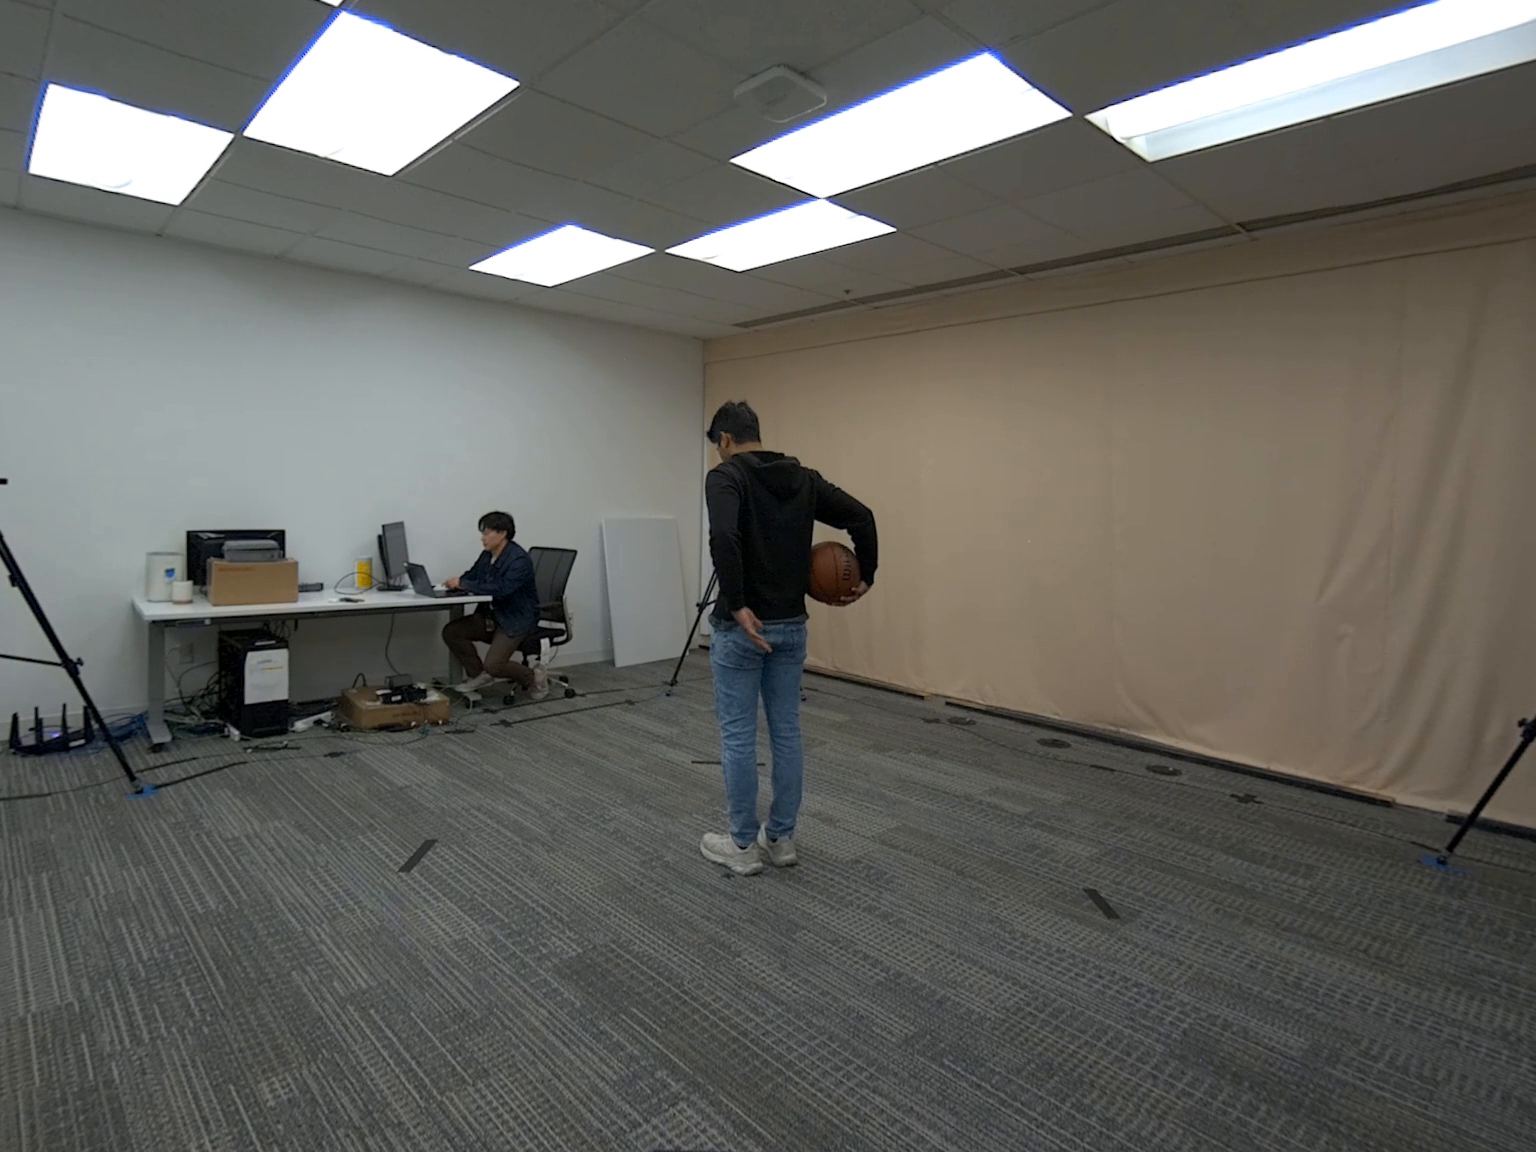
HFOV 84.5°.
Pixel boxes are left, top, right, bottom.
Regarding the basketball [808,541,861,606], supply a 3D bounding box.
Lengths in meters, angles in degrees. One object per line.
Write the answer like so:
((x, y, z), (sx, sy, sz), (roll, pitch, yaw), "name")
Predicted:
((0.220, -0.022, 3.235), (0.236, 0.235, 0.237), (1, 4, -1), "basketball")
